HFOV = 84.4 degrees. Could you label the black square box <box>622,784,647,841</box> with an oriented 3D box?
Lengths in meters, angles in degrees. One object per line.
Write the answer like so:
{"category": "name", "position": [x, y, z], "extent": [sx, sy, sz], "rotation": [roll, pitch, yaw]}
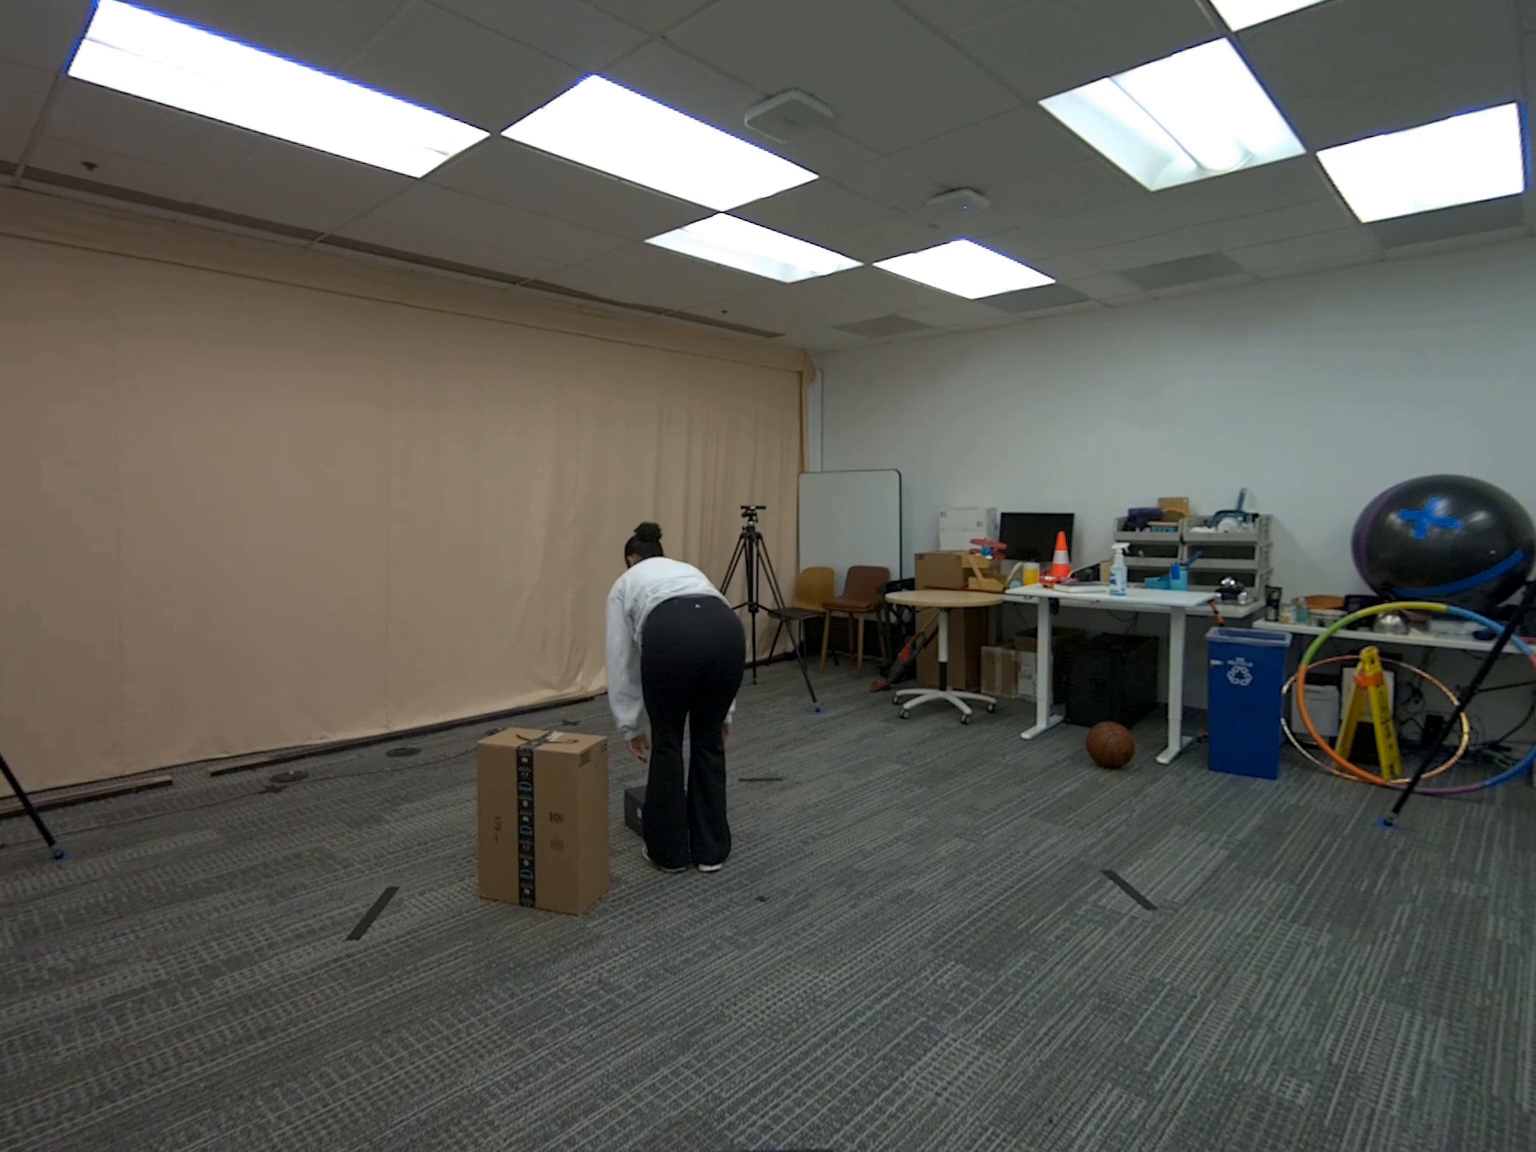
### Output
{"category": "black square box", "position": [-0.478, 1.005, 3.652], "extent": [0.222, 0.155, 0.223], "rotation": [-4, 4, -31]}
